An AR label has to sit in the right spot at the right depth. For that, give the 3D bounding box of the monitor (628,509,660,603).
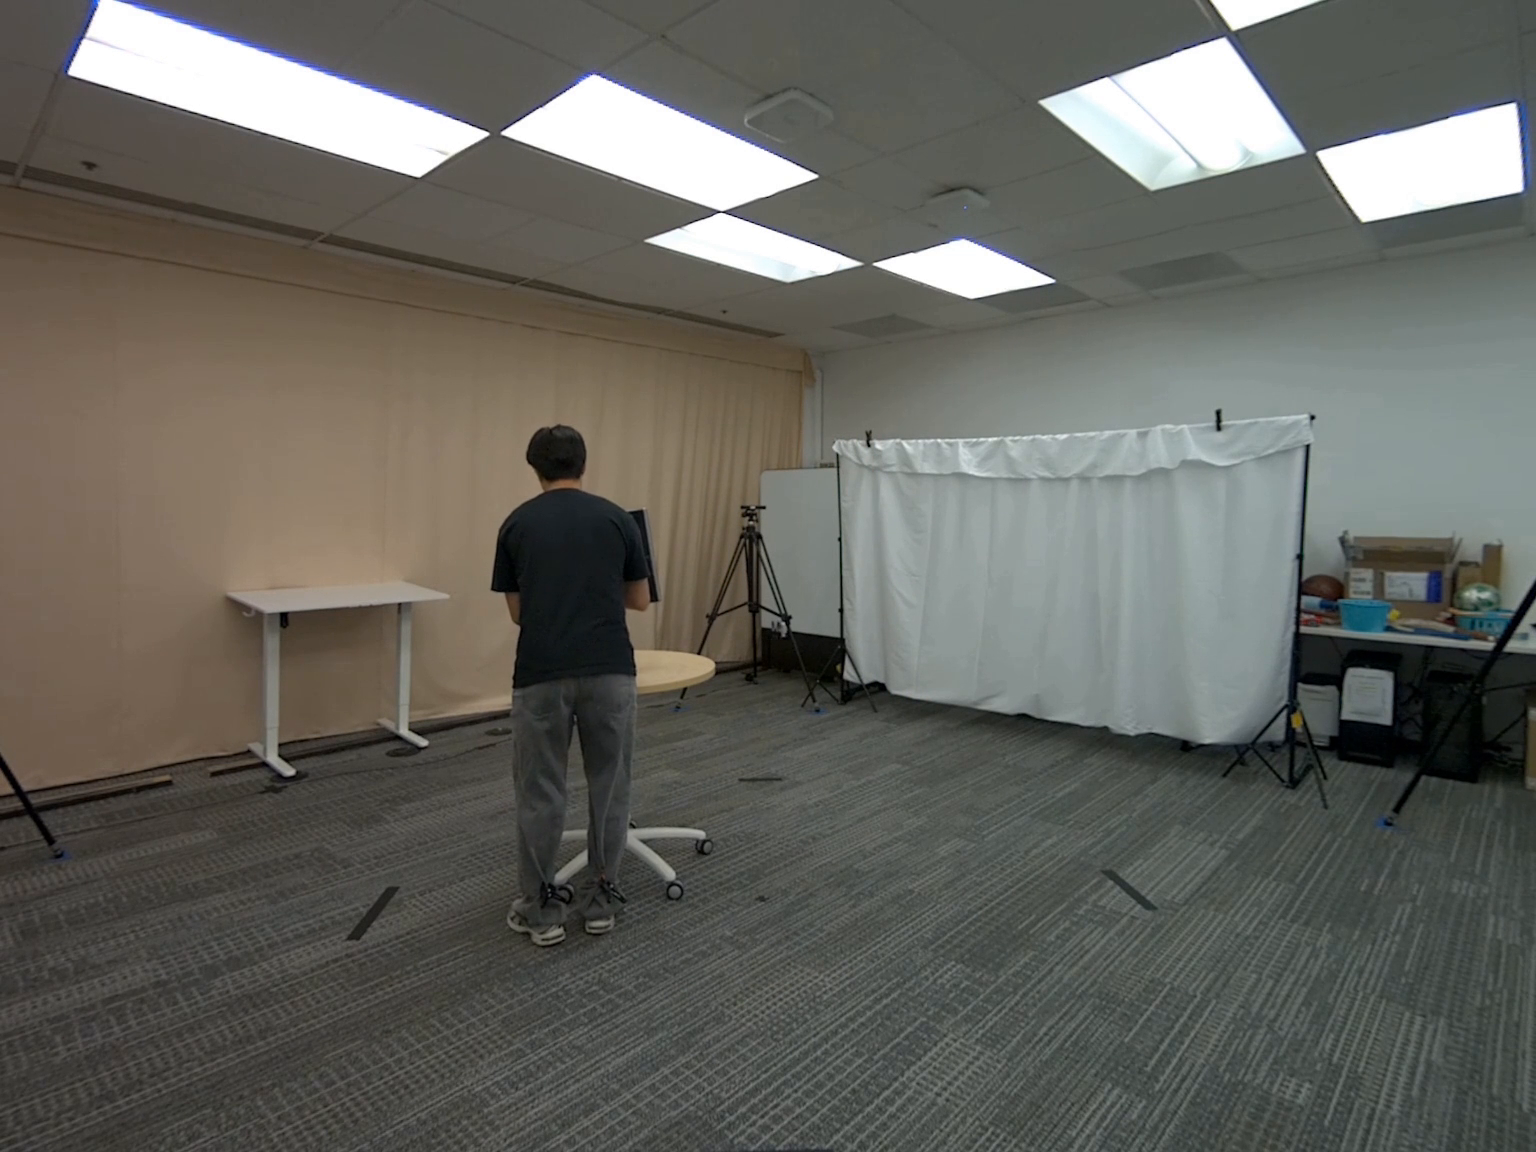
[{"bbox_3d":[-0.711,0.055,3.191,0.571,0.568,0.218,-6,-5,16],"label":"monitor"}]
